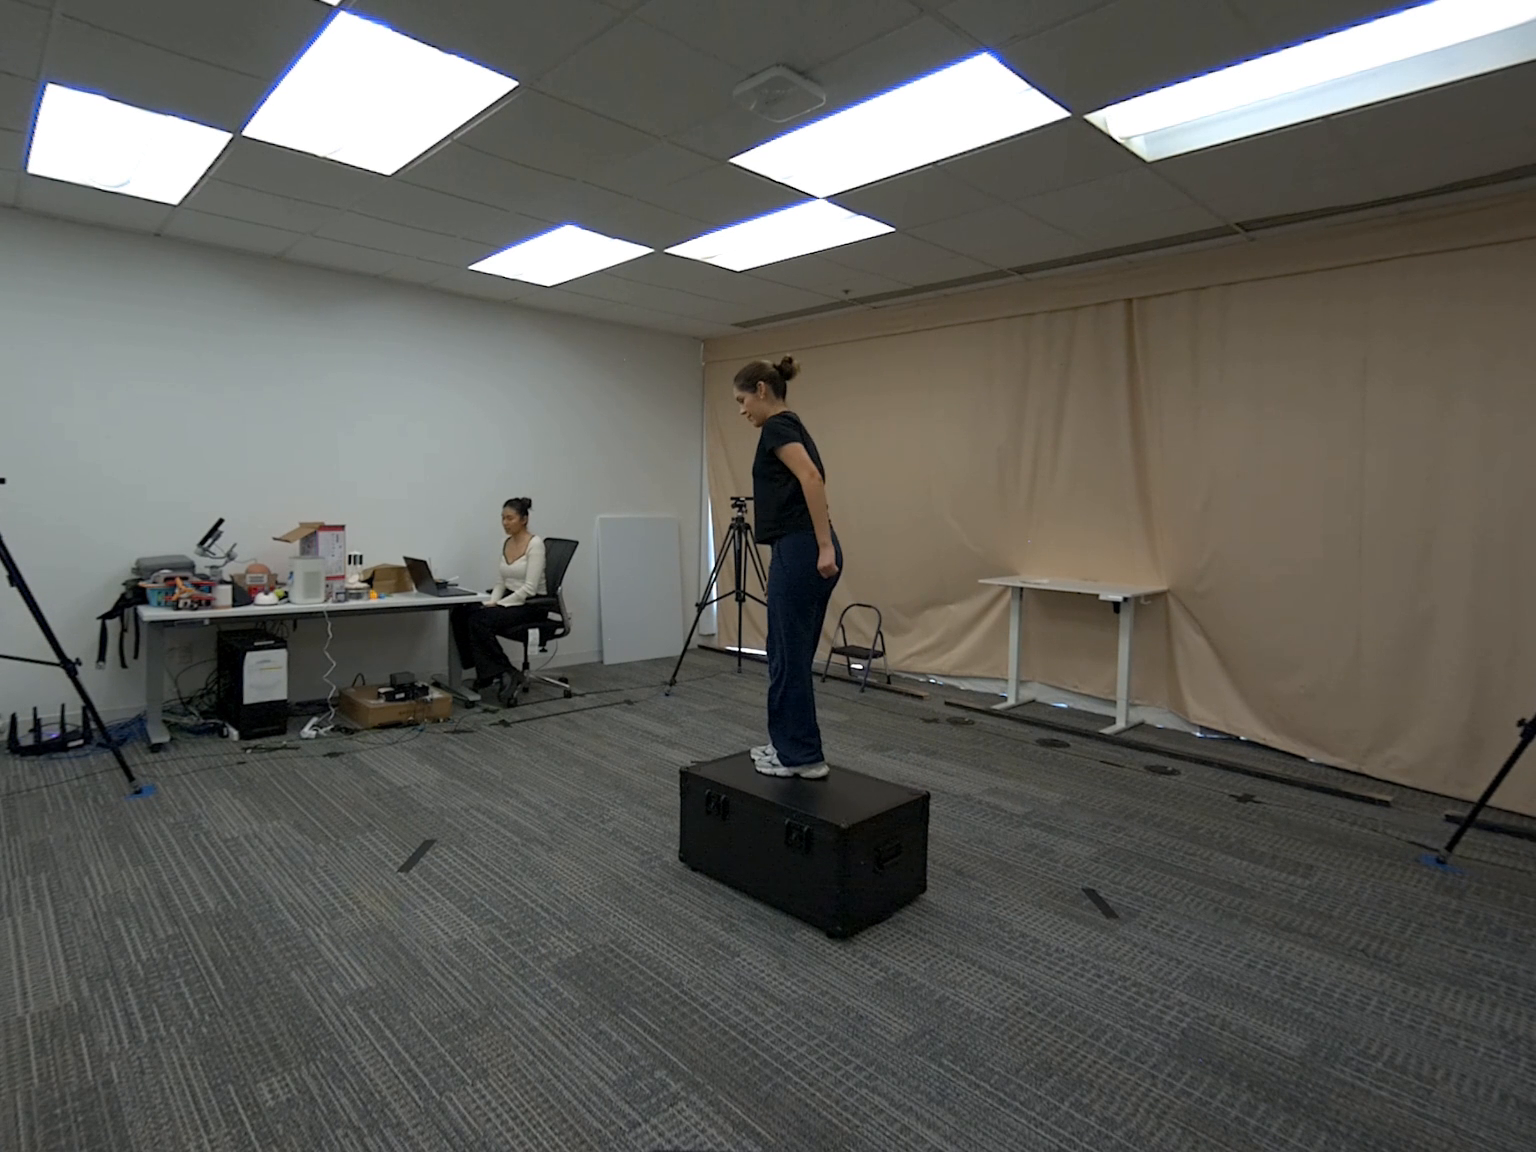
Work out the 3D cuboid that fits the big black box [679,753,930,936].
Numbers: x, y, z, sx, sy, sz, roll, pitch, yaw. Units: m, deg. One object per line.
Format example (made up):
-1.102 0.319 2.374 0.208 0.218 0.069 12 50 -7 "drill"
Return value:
0.090 0.926 3.072 0.884 0.395 0.509 6 6 43 "big black box"
